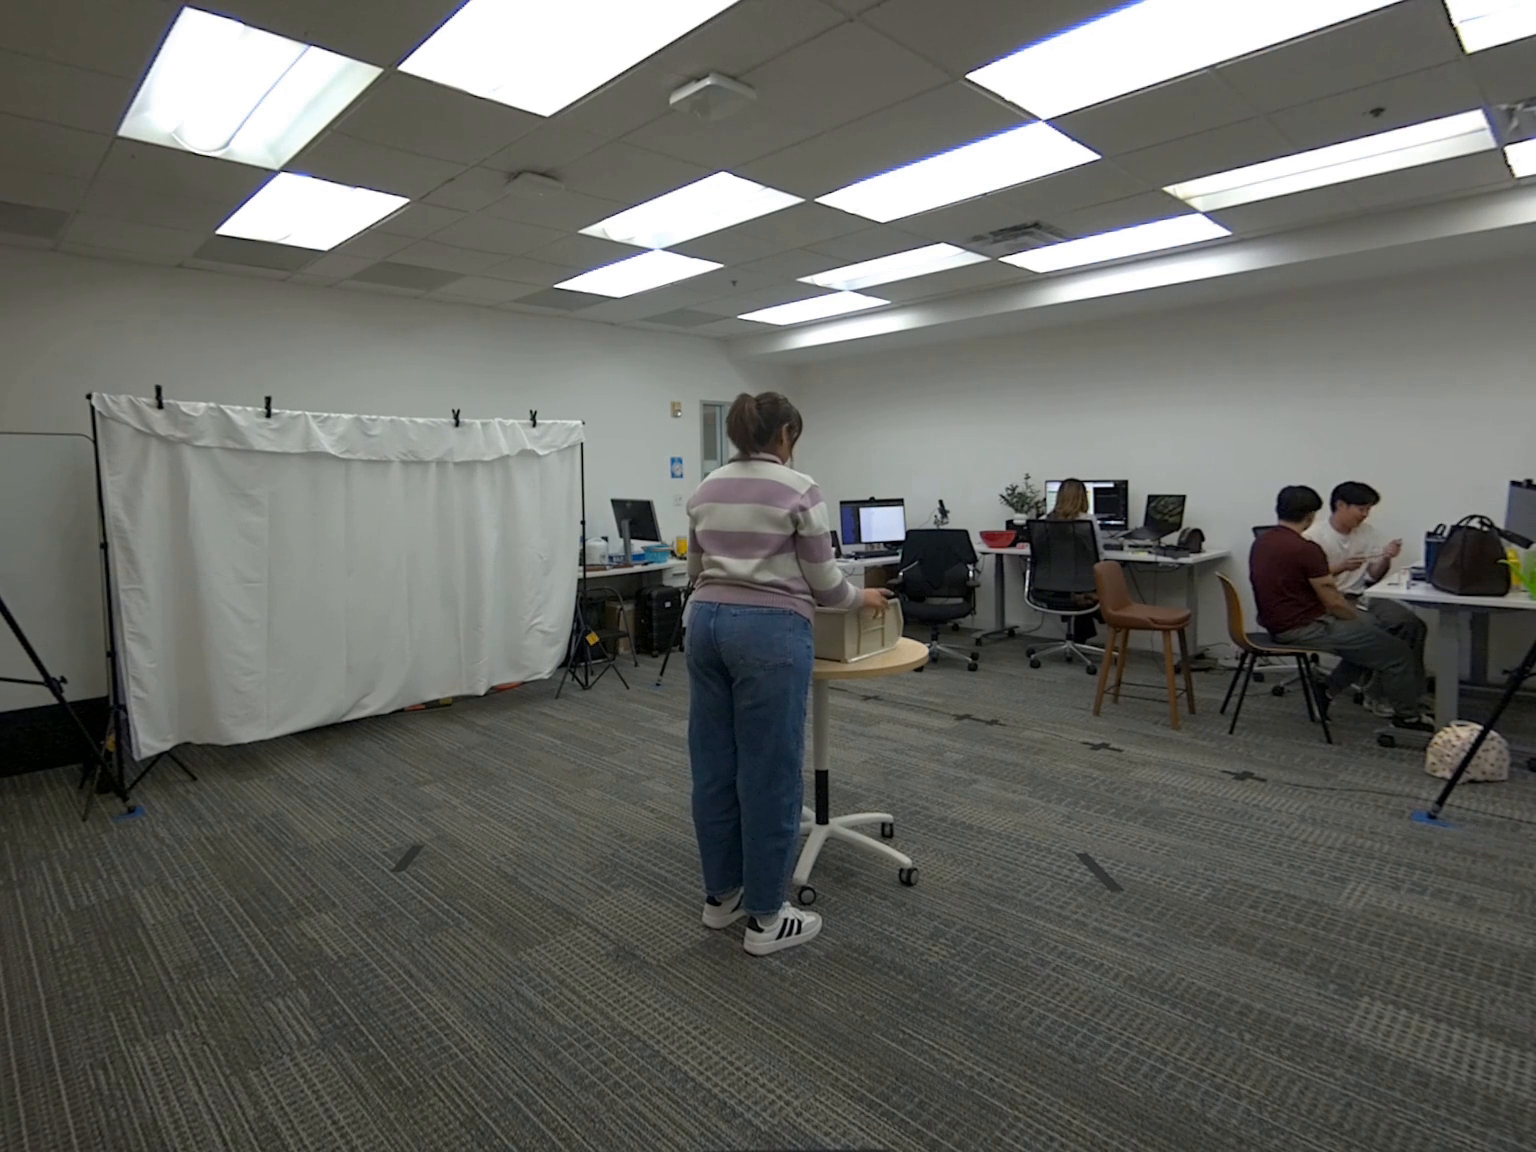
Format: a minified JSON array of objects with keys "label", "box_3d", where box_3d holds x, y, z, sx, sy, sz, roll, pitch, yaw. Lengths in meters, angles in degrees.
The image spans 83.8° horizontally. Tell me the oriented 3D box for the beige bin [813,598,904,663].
[{"label":"beige bin","box_3d":[0.206,0.172,3.062,0.435,0.188,0.368,3,9,38]}]
